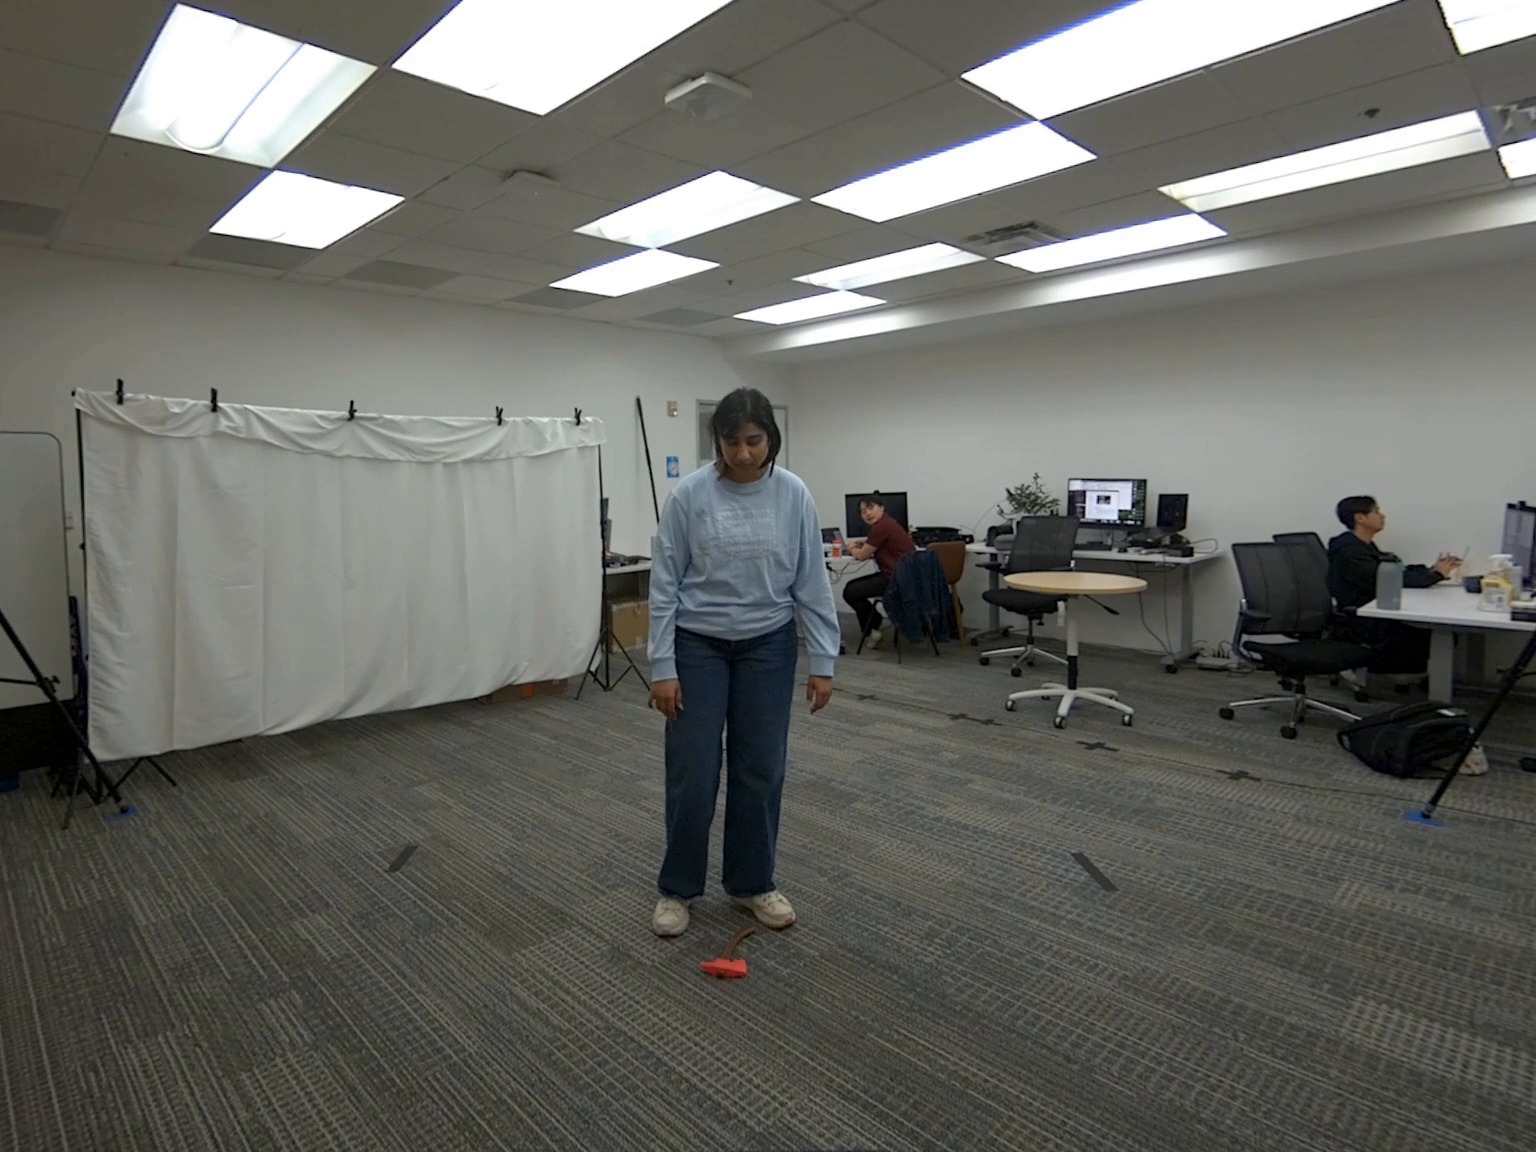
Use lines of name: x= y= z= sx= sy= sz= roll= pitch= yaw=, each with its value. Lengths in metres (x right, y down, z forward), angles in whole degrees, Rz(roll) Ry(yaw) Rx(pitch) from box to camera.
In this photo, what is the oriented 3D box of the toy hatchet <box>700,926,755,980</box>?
toy hatchet: x=-0.081 y=1.105 z=2.505 sx=0.134 sy=0.029 sz=0.264 roll=2 pitch=6 yaw=31
